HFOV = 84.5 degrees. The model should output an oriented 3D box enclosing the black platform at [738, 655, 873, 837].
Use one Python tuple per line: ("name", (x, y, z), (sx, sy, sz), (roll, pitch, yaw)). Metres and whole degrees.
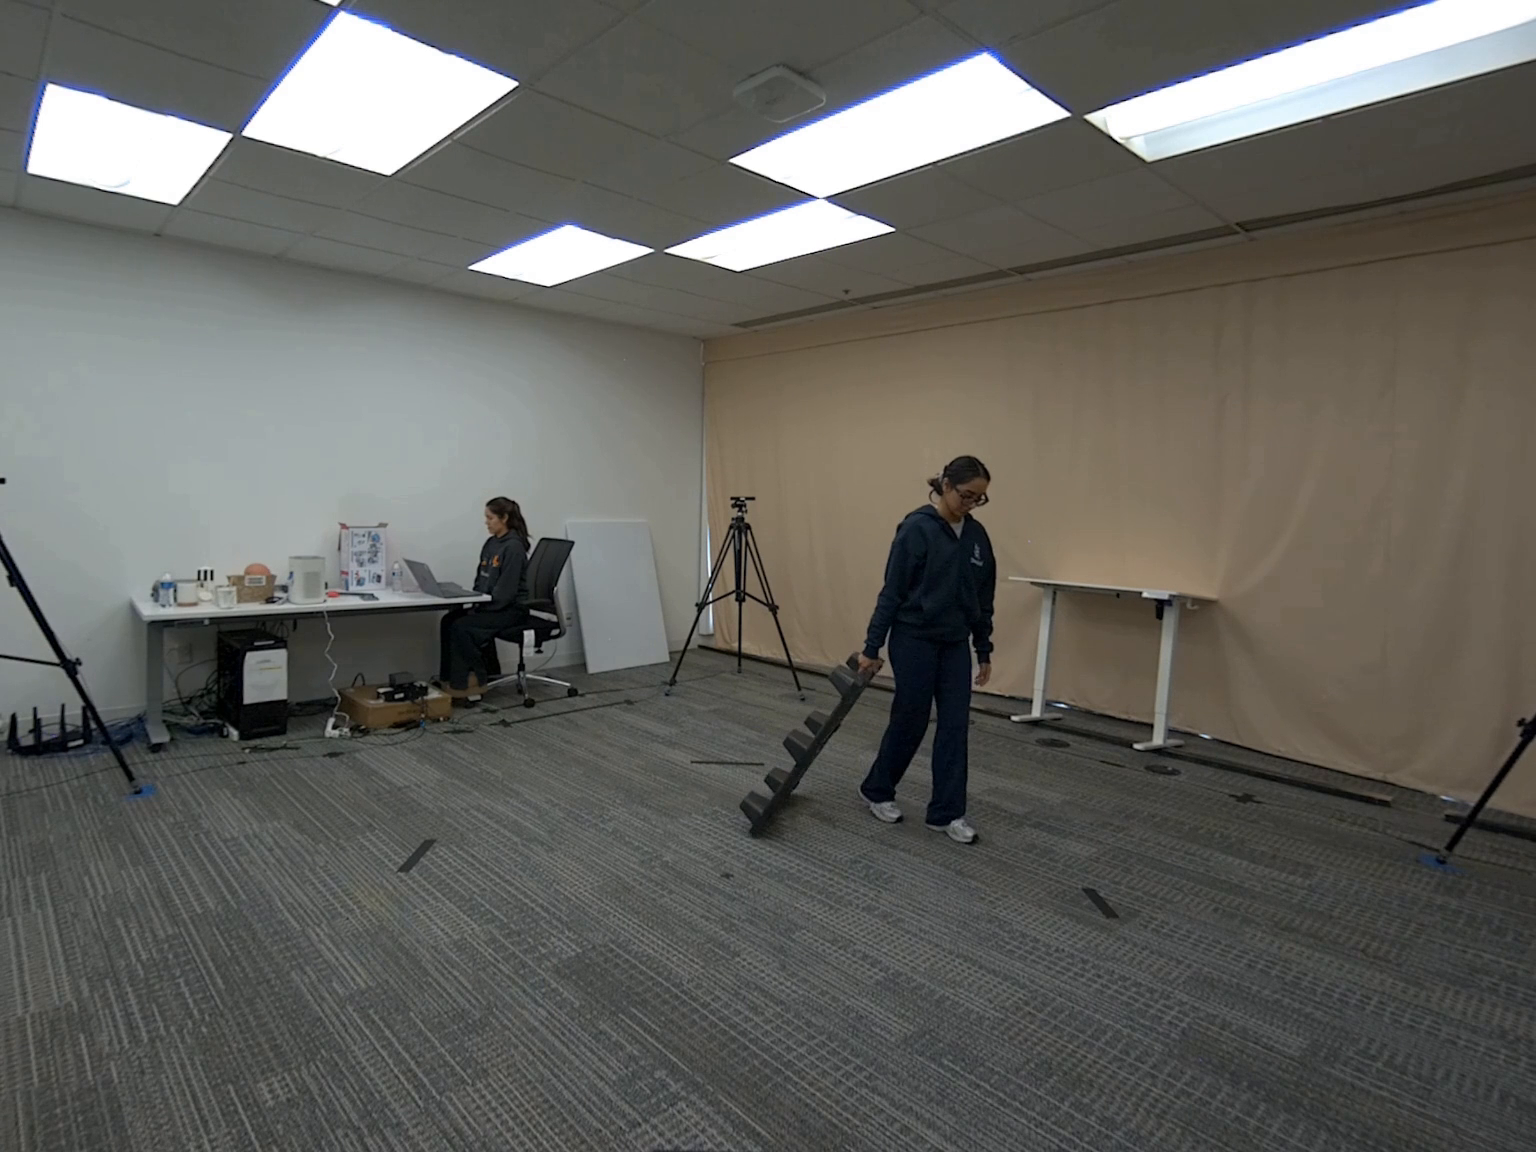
("black platform", (0.181, 0.702, 3.662), (0.145, 0.803, 0.598), (35, 12, 11))
